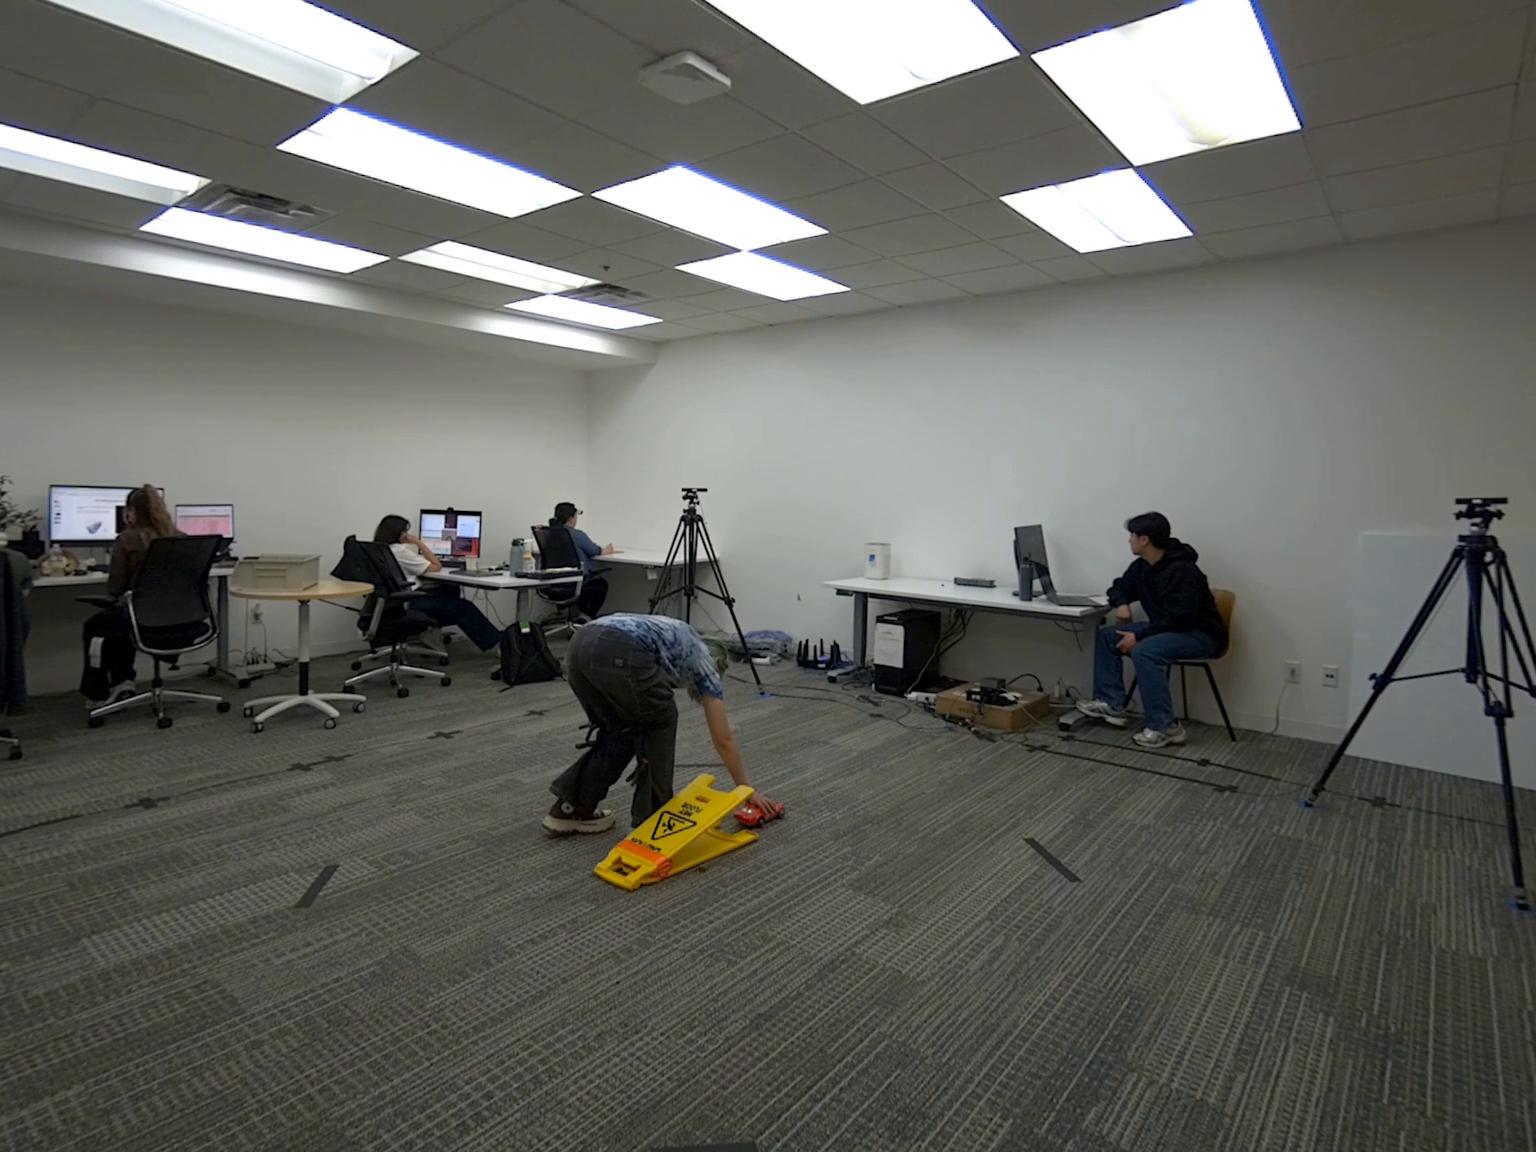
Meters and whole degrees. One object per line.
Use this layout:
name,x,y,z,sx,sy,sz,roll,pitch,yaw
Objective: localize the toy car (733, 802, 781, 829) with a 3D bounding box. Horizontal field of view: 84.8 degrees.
toy car,-0.053,1.003,3.578,0.135,0.083,0.245,6,-3,41
